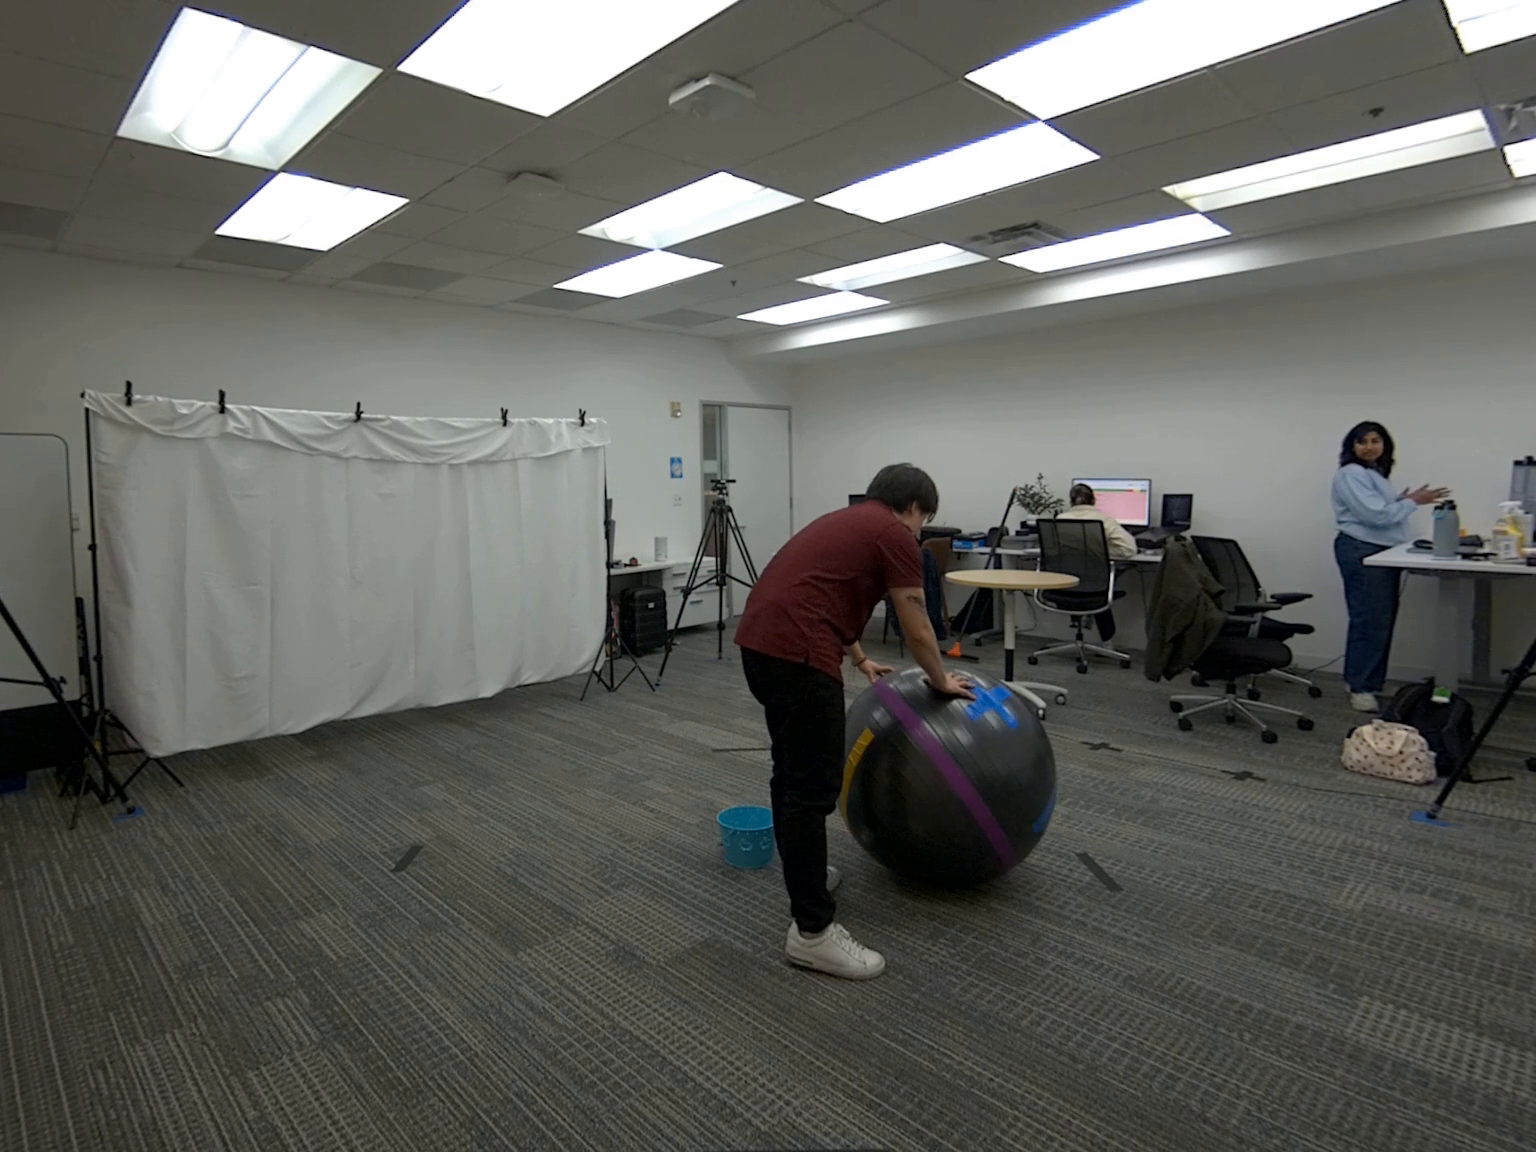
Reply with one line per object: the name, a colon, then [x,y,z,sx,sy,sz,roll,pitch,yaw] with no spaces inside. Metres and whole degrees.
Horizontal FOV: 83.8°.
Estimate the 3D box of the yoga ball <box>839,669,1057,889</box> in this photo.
yoga ball: [0.622,0.692,2.999,0.757,0.755,0.762,-1,5,-2]
